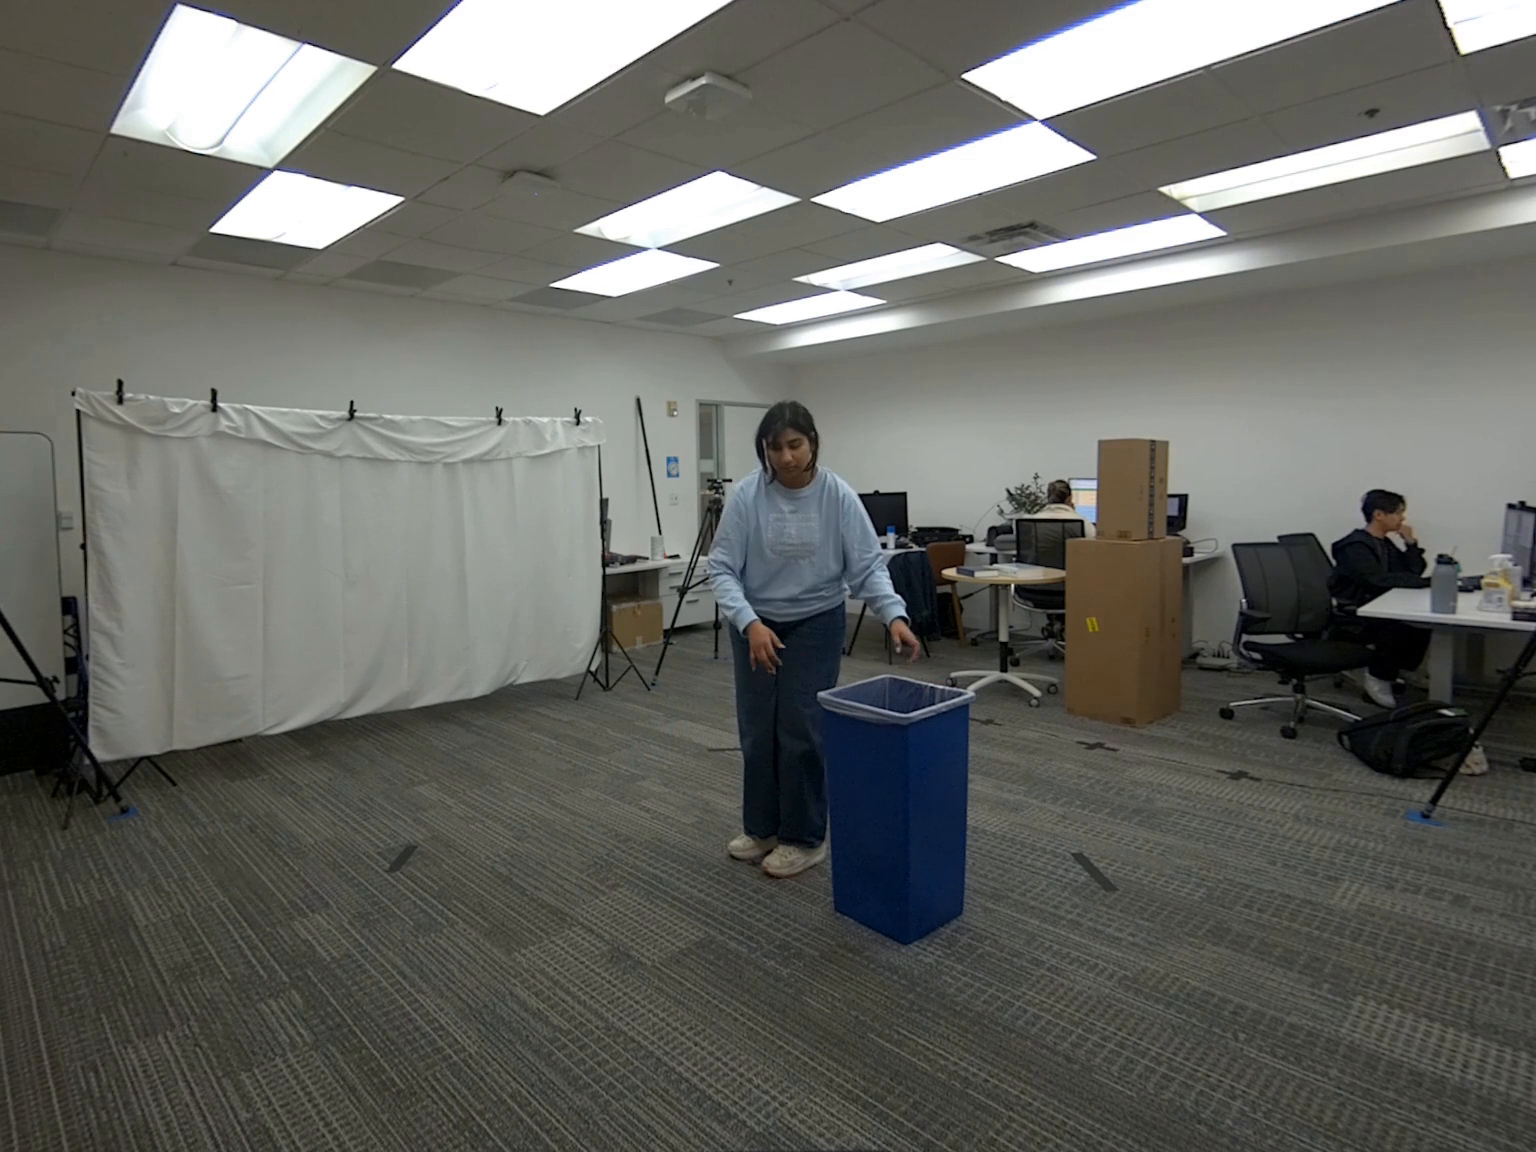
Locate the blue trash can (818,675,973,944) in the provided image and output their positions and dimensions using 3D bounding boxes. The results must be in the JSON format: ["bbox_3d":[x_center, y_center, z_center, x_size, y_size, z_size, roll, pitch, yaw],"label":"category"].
[{"bbox_3d":[0.412,0.724,2.717,0.364,0.711,0.389,-5,5,-42],"label":"blue trash can"}]
